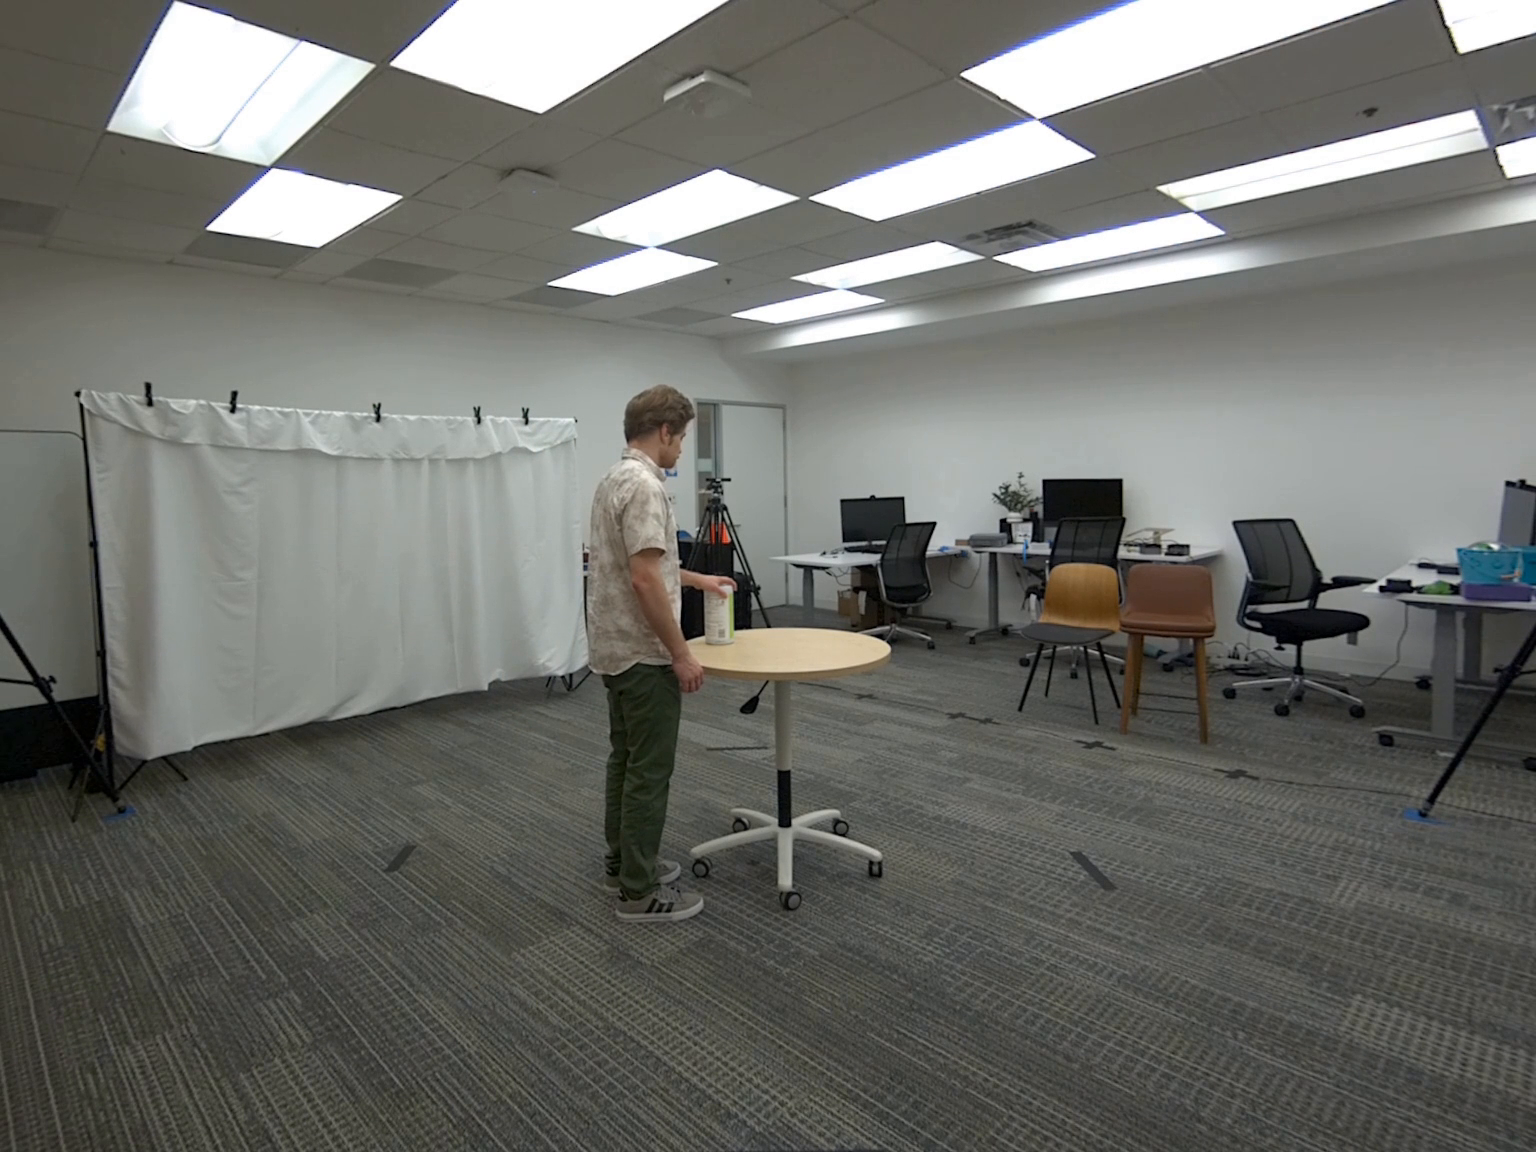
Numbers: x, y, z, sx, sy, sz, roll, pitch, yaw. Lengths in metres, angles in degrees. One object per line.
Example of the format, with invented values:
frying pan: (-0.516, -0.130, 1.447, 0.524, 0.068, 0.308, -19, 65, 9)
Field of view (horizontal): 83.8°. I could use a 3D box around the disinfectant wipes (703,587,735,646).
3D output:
disinfectant wipes: (-0.180, 0.142, 3.167, 0.118, 0.217, 0.118, -2, 3, -2)
